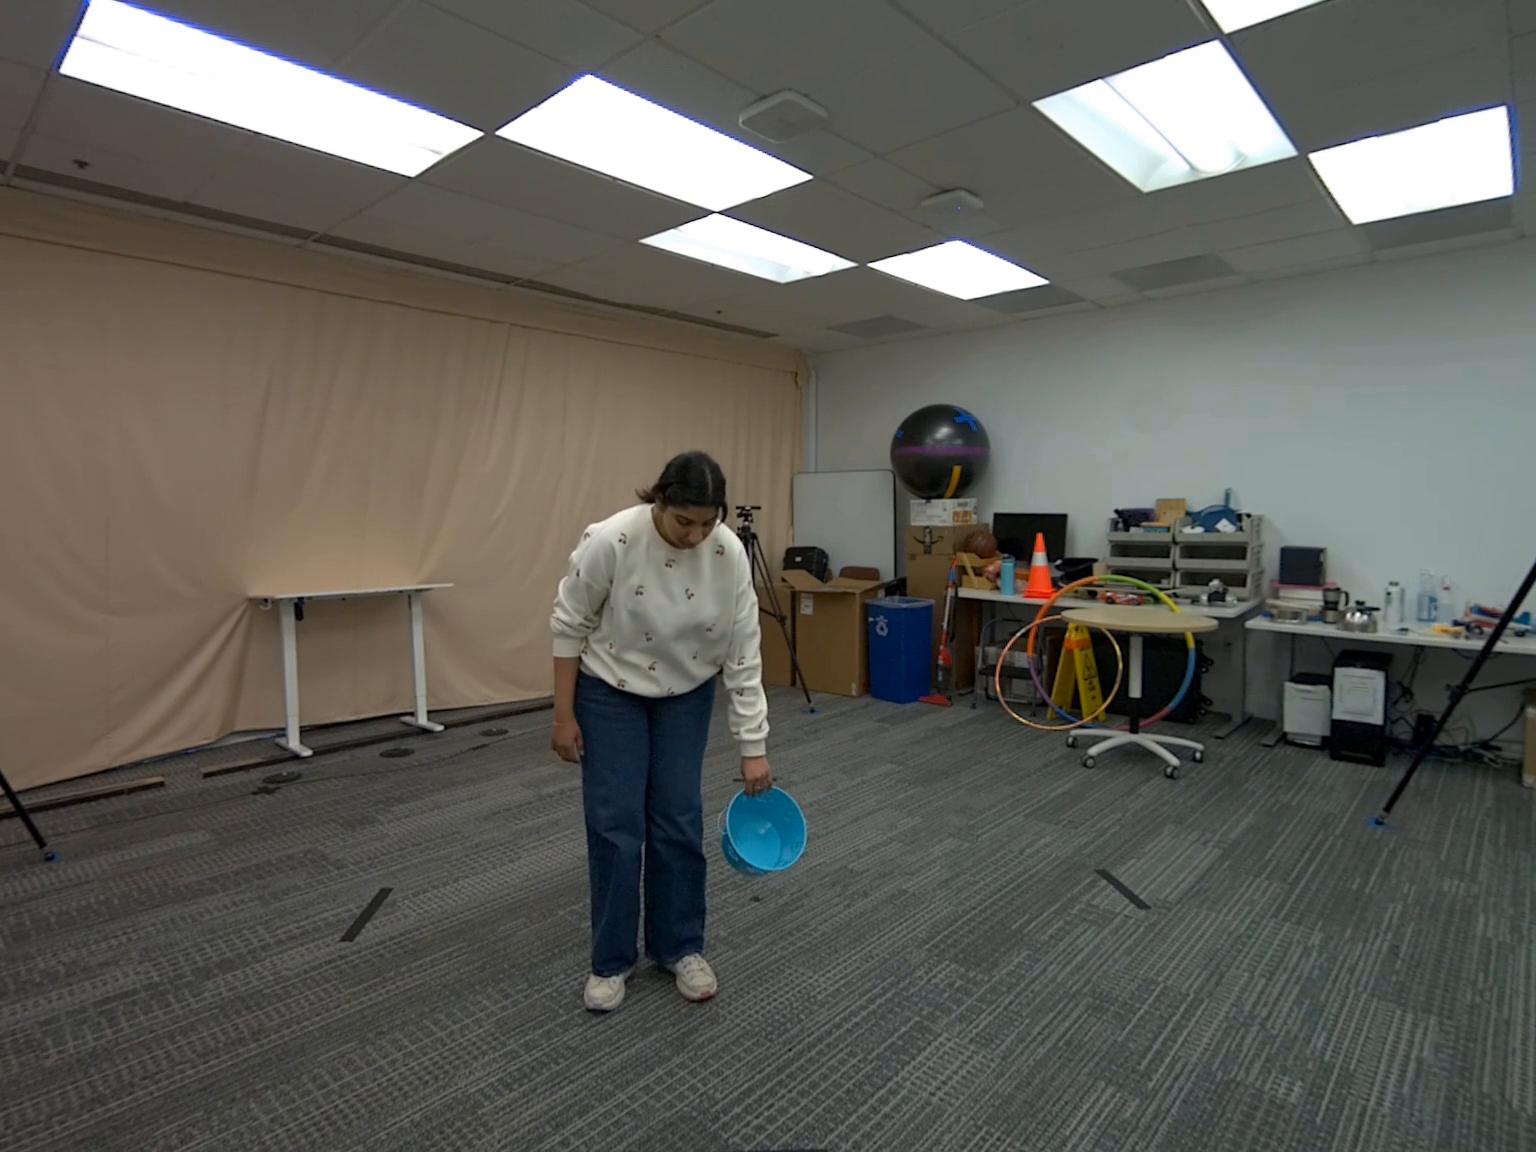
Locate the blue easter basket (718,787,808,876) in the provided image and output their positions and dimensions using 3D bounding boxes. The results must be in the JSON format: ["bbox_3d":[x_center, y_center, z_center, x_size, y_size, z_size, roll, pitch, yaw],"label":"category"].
[{"bbox_3d":[-0.020,0.728,2.330,0.238,0.249,0.155,-2,-33,-21],"label":"blue easter basket"}]
